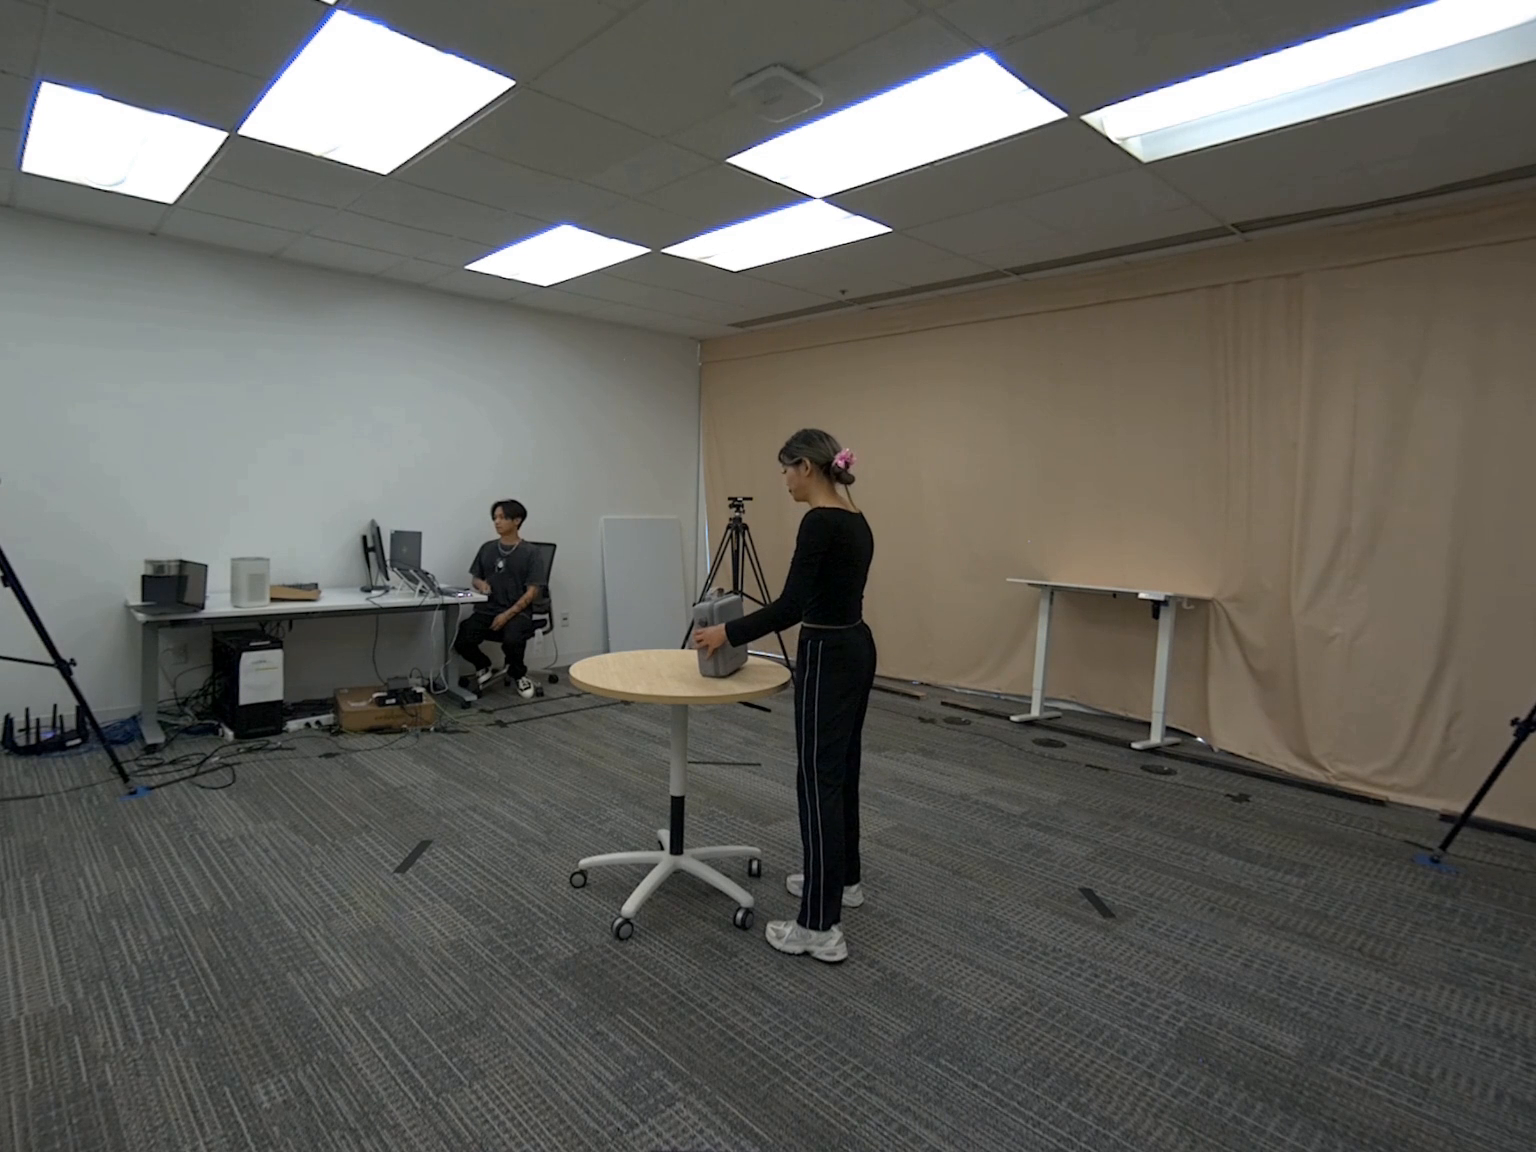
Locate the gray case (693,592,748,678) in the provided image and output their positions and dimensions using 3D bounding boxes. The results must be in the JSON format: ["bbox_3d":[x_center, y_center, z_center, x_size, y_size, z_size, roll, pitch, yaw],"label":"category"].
[{"bbox_3d":[-0.162,0.201,2.910,0.106,0.260,0.254,-5,3,18],"label":"gray case"}]
